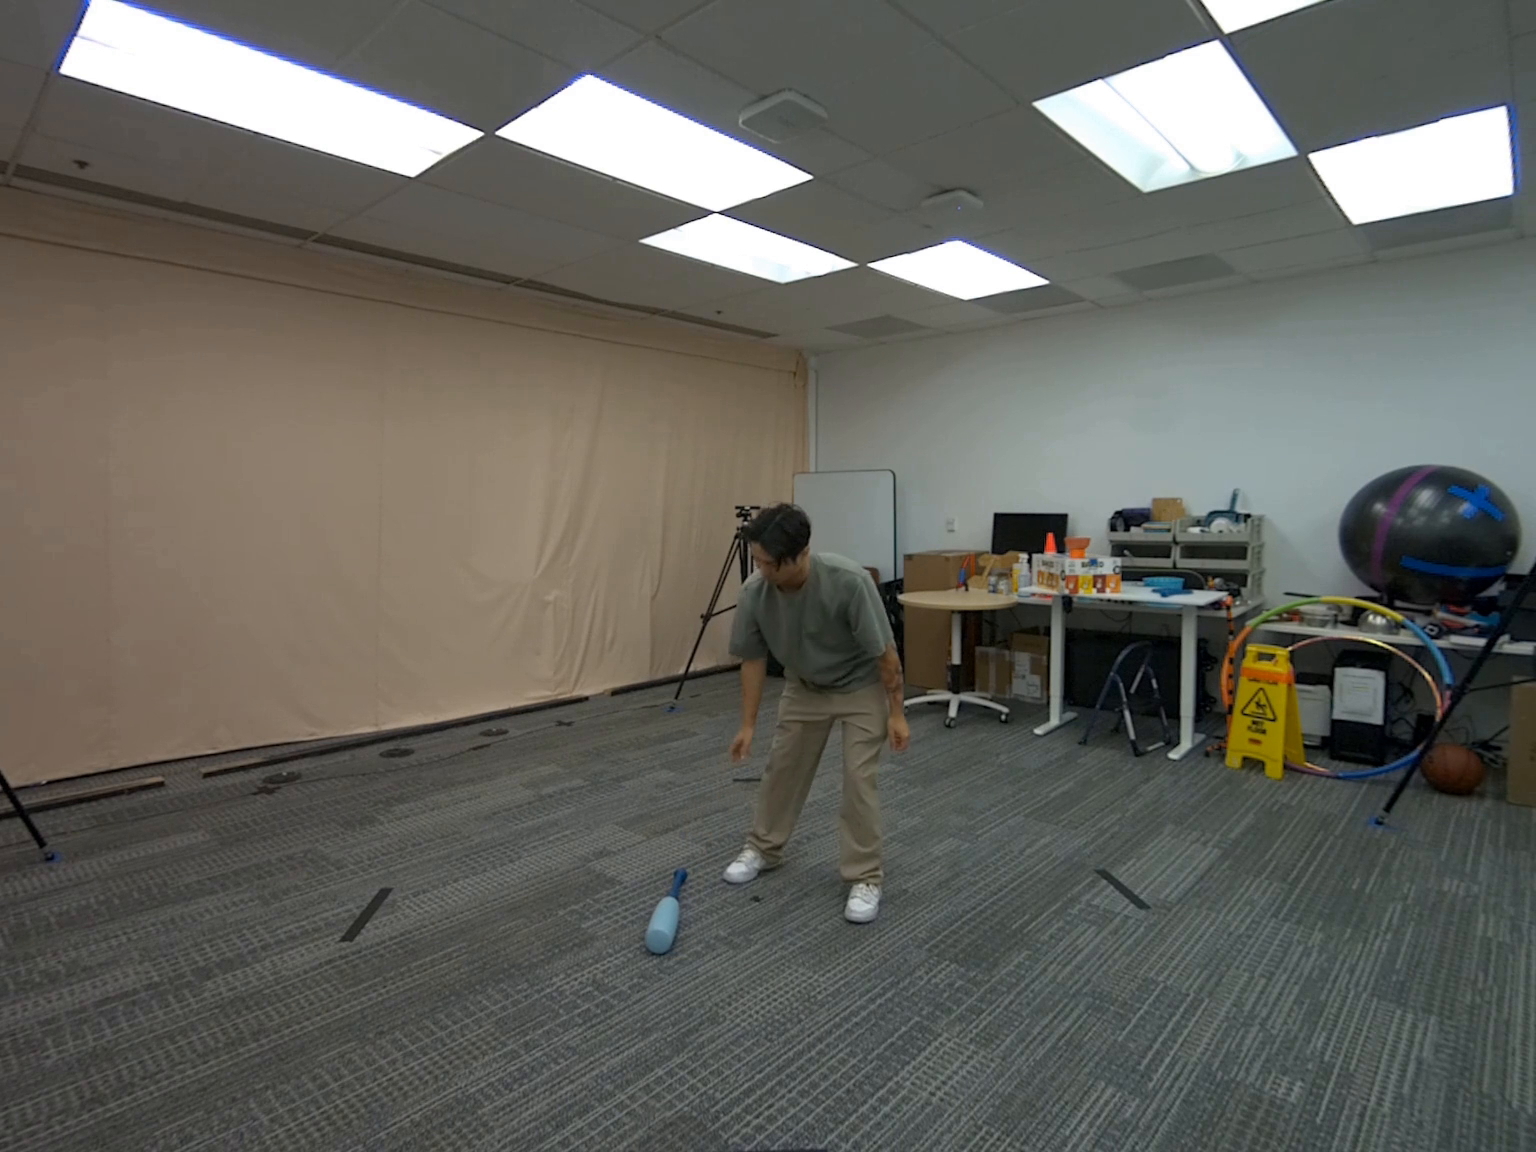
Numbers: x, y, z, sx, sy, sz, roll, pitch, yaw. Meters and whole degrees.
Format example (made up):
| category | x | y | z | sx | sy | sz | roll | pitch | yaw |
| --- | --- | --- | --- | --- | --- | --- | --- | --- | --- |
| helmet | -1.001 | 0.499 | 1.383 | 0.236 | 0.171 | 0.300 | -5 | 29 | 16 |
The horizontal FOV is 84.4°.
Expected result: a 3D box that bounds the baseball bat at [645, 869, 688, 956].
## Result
| category | x | y | z | sx | sy | sz | roll | pitch | yaw |
| --- | --- | --- | --- | --- | --- | --- | --- | --- | --- |
| baseball bat | -0.332 | 1.118 | 2.864 | 0.089 | 0.089 | 0.542 | 0 | 2 | 1 |
